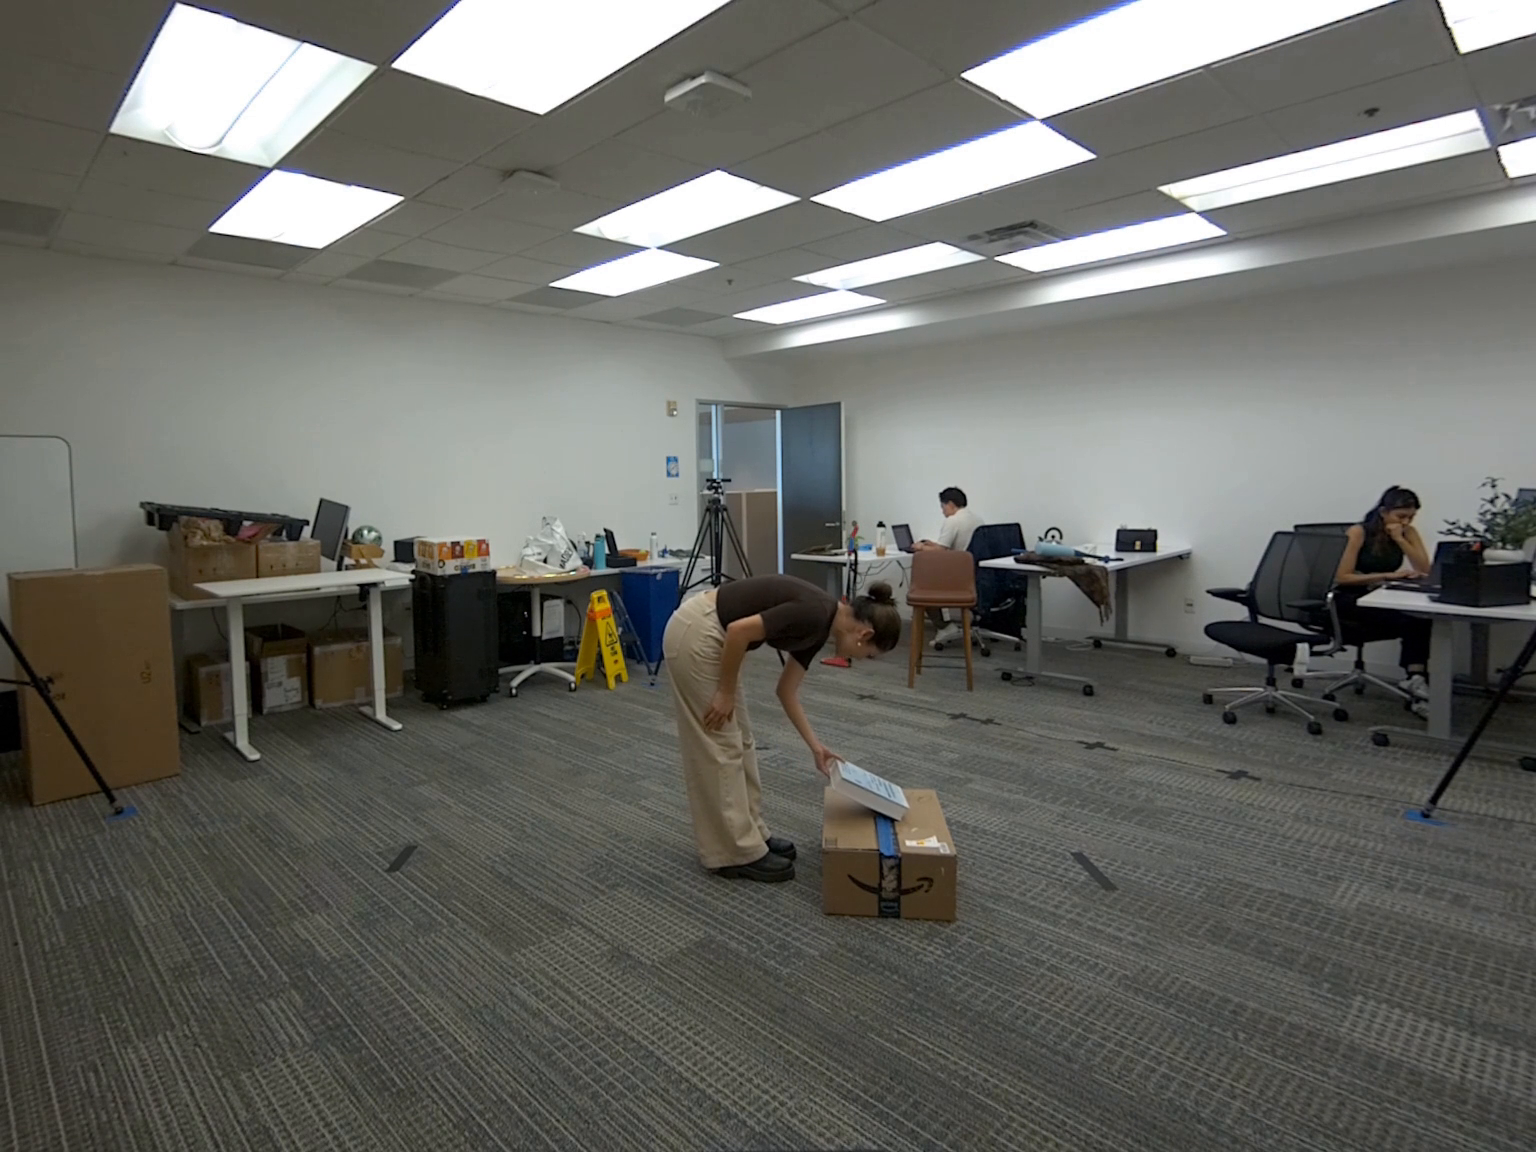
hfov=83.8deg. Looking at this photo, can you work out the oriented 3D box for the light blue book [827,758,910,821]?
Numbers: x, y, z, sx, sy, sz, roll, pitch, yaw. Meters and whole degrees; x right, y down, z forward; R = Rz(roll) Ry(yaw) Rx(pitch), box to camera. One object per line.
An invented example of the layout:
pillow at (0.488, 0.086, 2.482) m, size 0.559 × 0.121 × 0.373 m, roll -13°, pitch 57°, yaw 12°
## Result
light blue book at (0.353, 0.747, 3.035) m, size 0.260 × 0.059 × 0.192 m, roll 25°, pitch 7°, yaw -2°
